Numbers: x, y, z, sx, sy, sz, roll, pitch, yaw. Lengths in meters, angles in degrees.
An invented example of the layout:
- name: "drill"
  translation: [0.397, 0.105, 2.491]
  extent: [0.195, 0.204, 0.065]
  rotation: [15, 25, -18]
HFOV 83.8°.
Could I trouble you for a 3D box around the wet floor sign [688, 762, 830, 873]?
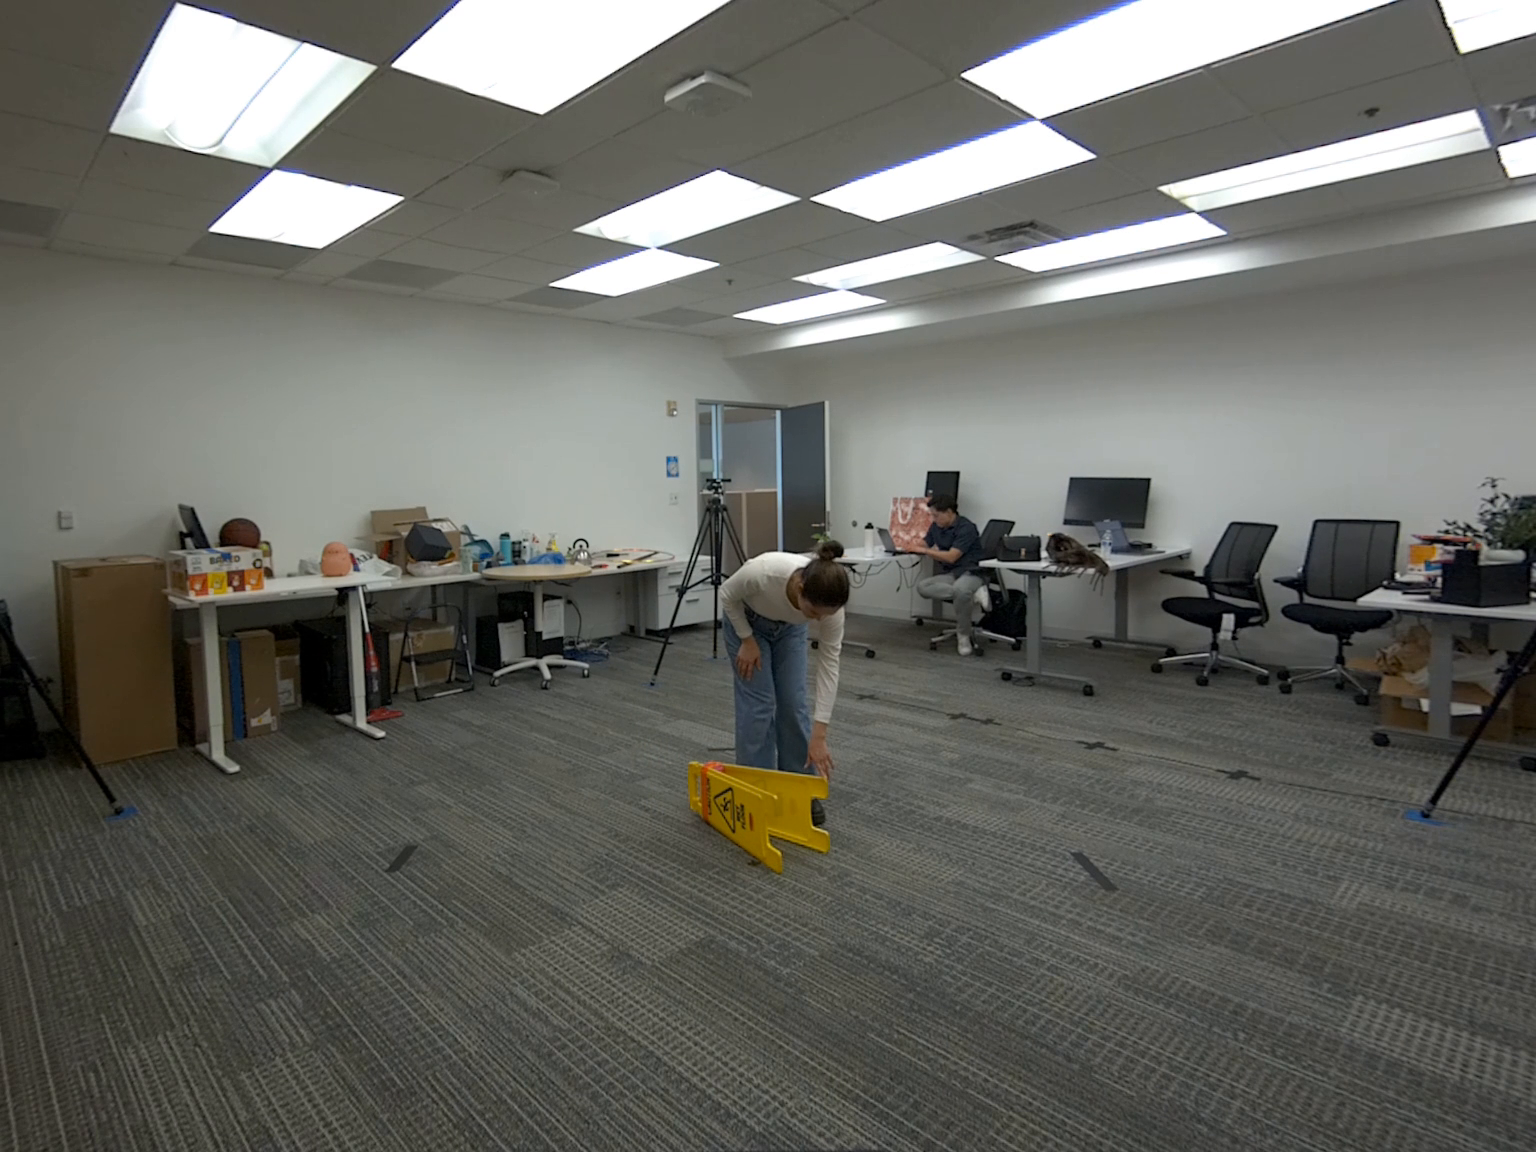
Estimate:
- name: "wet floor sign"
  translation: [-0.099, 0.890, 3.334]
  extent: [0.282, 0.281, 0.666]
  rotation: [-5, 6, -43]
